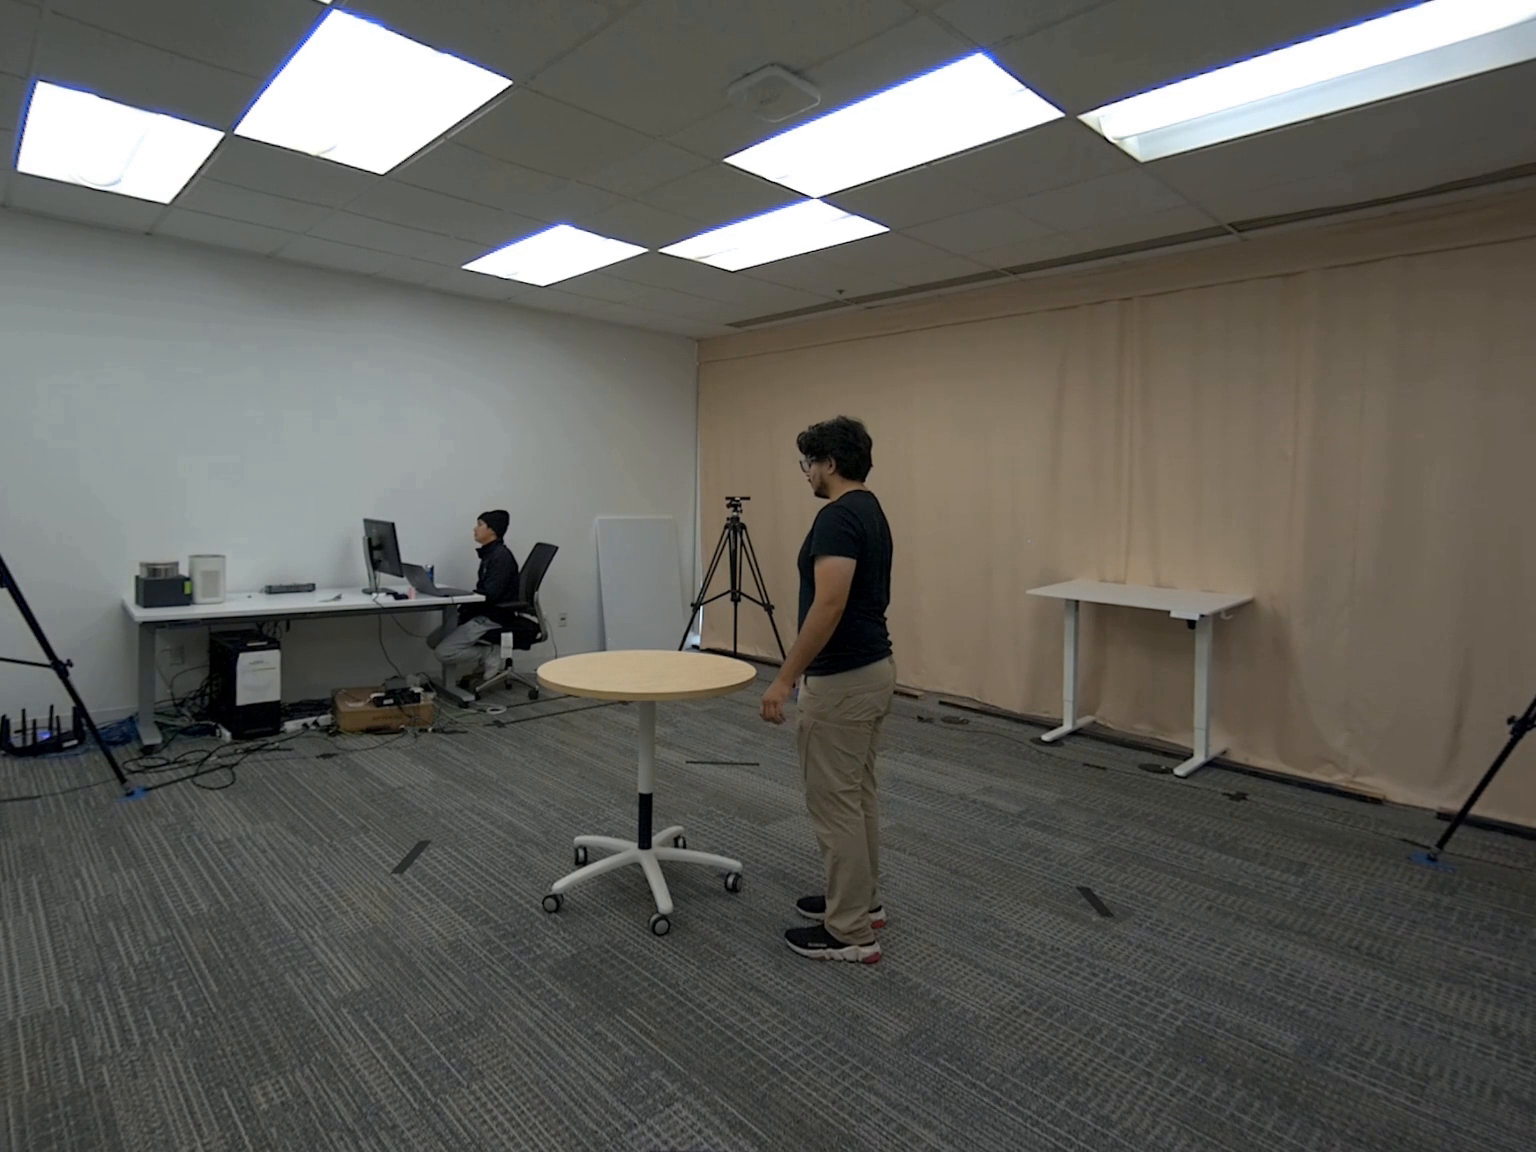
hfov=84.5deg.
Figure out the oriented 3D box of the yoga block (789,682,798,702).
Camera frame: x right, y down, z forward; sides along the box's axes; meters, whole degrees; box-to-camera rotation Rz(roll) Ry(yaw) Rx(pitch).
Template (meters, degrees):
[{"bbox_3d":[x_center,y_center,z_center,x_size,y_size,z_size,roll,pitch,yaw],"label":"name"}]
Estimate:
[{"bbox_3d":[0.205,0.438,3.074,0.231,0.151,0.074,-27,-22,35],"label":"yoga block"}]
